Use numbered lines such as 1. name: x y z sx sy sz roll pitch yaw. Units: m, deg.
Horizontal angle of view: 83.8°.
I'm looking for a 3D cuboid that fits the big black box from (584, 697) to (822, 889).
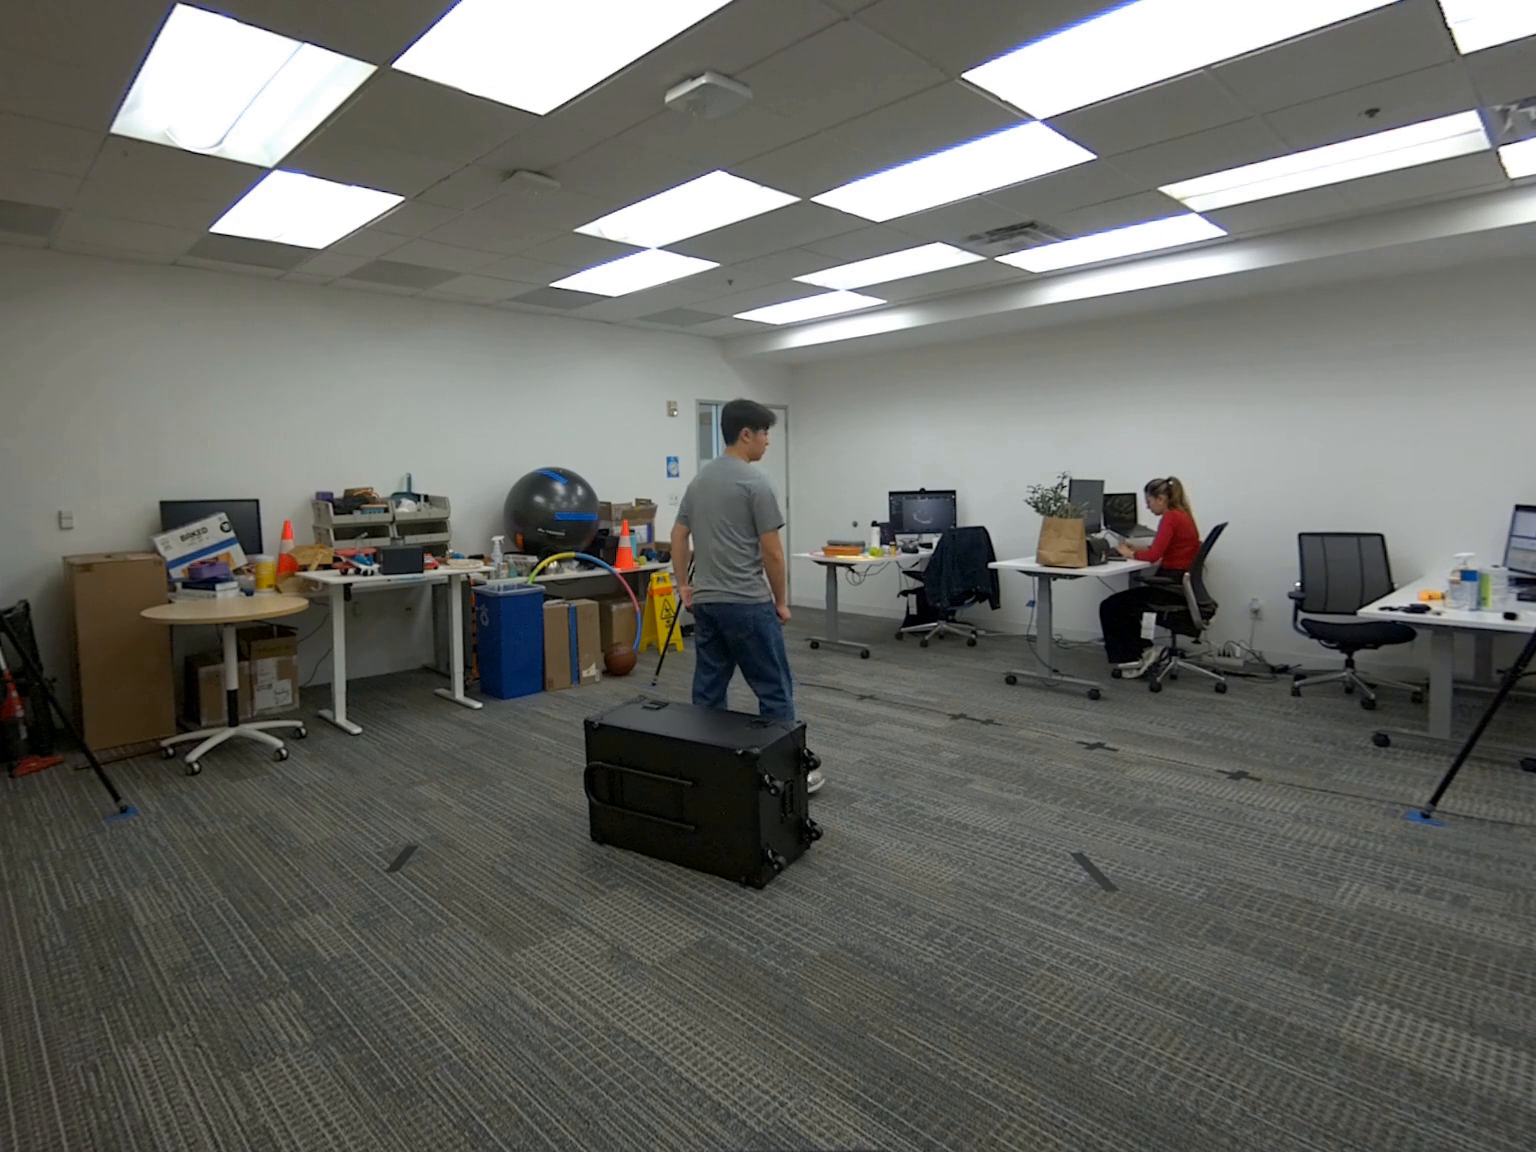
1. big black box: -0.258 0.781 3.208 0.885 0.518 0.388 3 8 32
